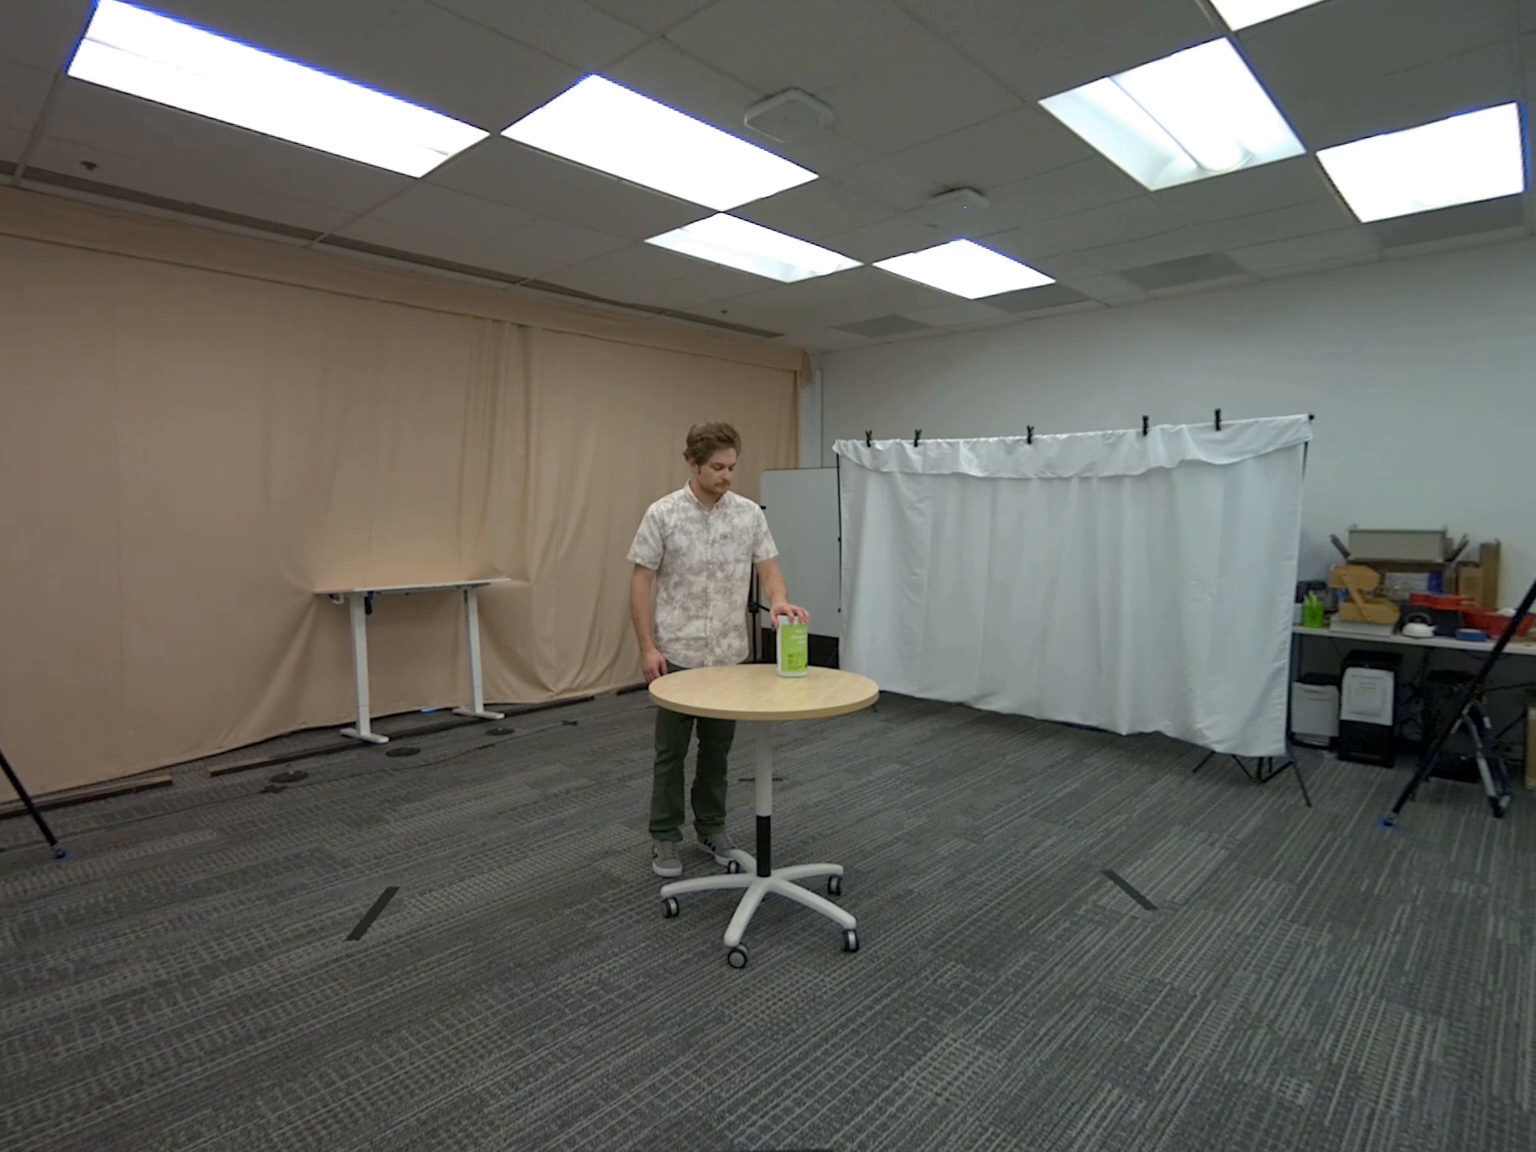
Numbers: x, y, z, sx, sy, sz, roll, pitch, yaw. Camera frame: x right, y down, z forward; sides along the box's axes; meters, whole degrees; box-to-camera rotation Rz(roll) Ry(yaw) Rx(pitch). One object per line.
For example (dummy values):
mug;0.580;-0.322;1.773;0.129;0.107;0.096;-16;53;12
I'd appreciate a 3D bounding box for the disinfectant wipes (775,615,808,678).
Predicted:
disinfectant wipes;0.087;0.247;2.990;0.118;0.217;0.118;0;2;-2
